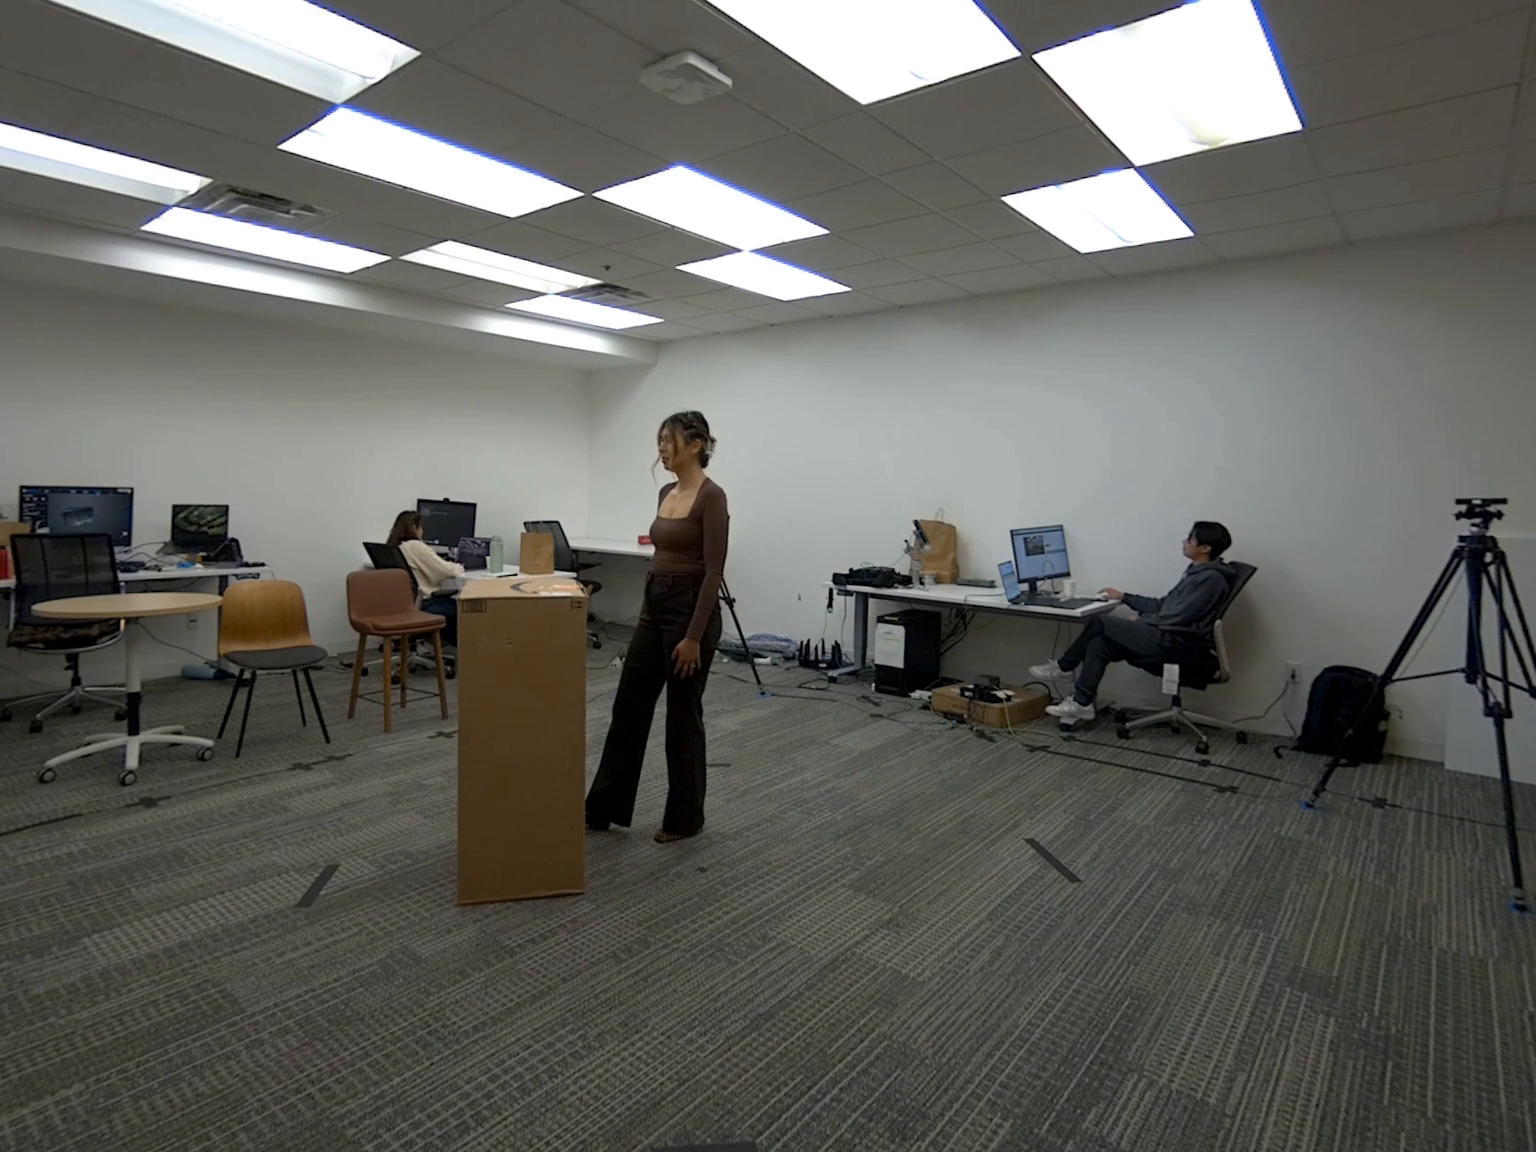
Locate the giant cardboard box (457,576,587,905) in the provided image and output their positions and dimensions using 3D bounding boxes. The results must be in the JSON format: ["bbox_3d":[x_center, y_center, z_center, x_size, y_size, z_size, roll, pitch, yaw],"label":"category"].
[{"bbox_3d":[-0.914,0.544,3.107,0.440,1.024,0.595,0,3,-16],"label":"giant cardboard box"}]
